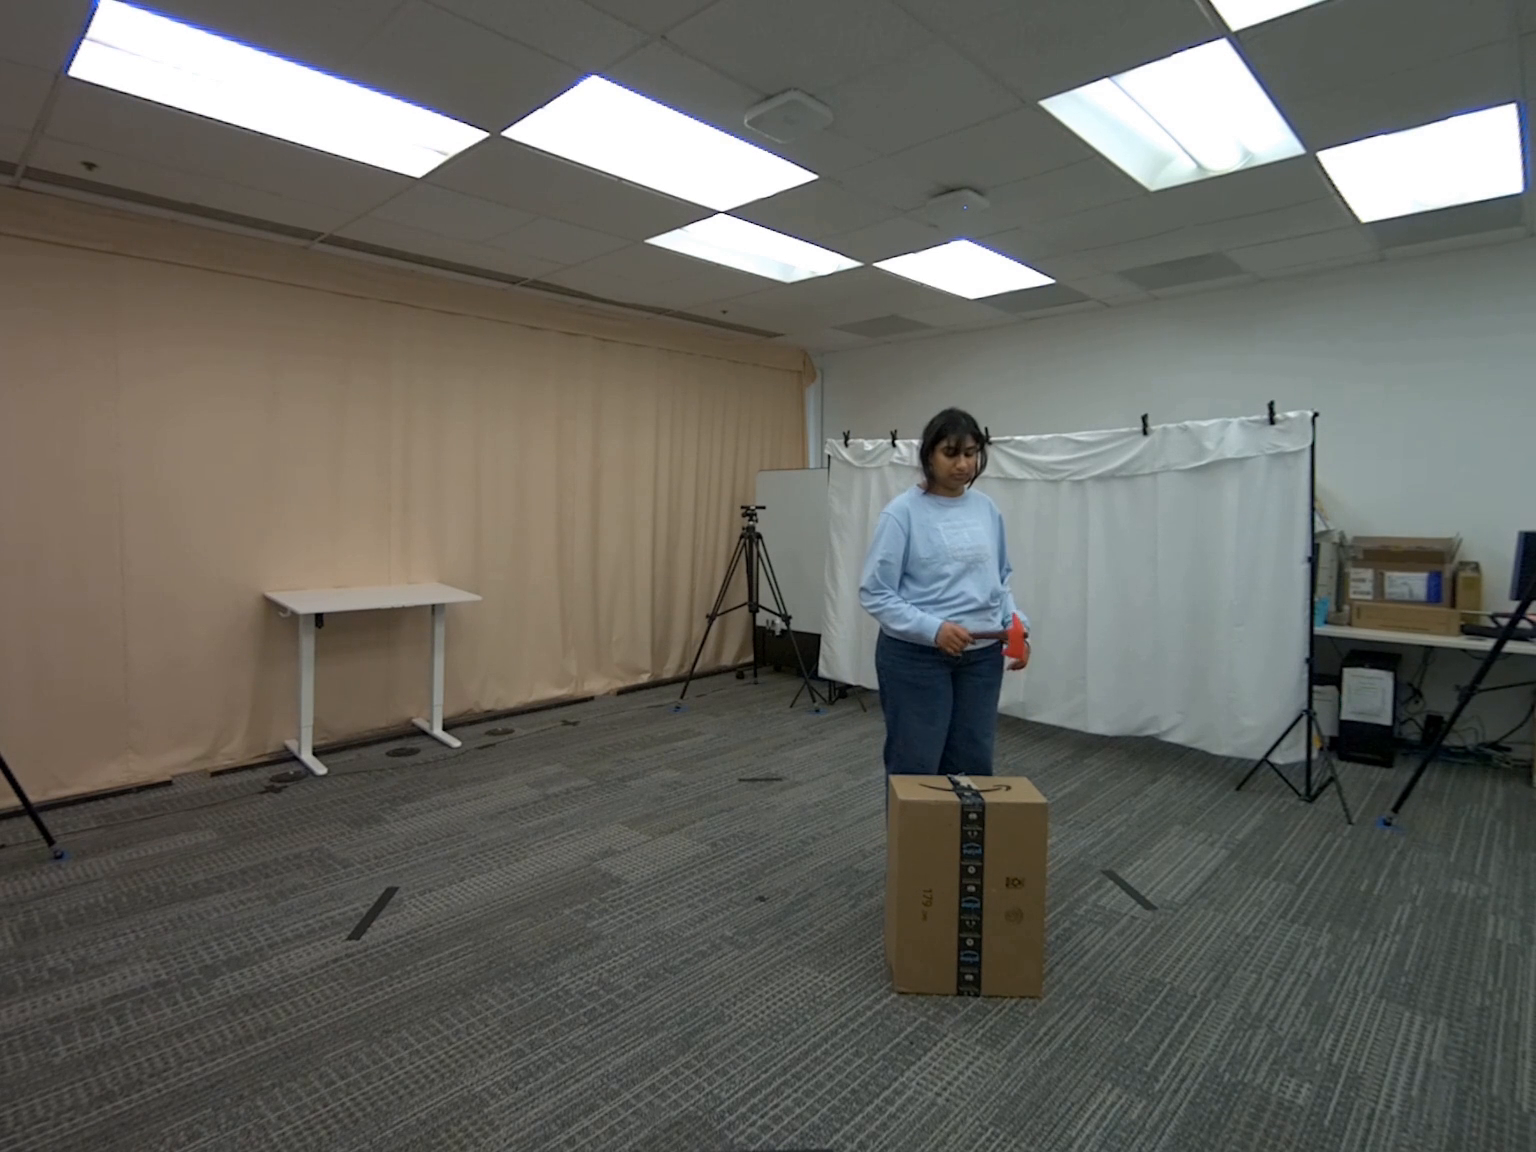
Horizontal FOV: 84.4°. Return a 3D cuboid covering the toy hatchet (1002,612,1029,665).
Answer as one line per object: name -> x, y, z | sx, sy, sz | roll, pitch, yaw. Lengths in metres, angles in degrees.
toy hatchet -> 0.633, 0.217, 2.478 | 0.275, 0.132, 0.029 | -30, -11, 39
